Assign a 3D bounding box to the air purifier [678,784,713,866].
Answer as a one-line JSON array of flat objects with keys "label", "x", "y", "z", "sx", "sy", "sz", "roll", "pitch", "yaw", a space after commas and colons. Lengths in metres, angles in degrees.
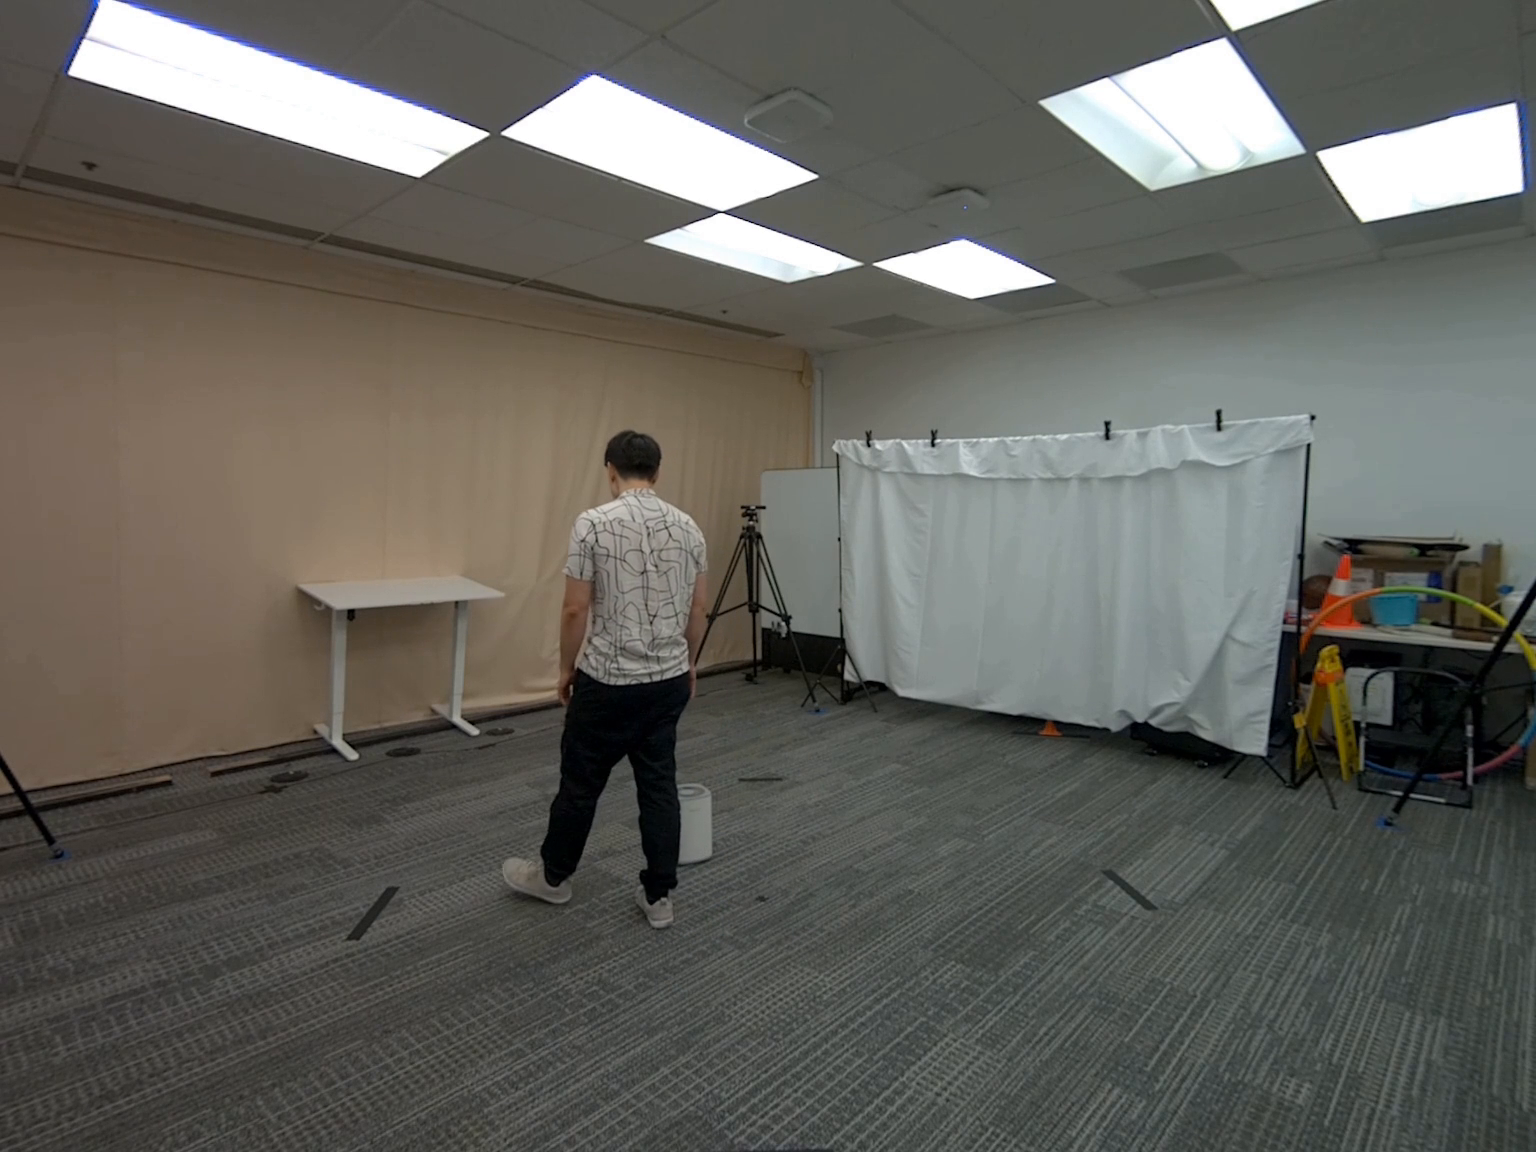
[{"label": "air purifier", "x": -0.320, "y": 0.982, "z": 3.334, "sx": 0.167, "sy": 0.265, "sz": 0.176, "roll": -3, "pitch": 5, "yaw": -27}]
